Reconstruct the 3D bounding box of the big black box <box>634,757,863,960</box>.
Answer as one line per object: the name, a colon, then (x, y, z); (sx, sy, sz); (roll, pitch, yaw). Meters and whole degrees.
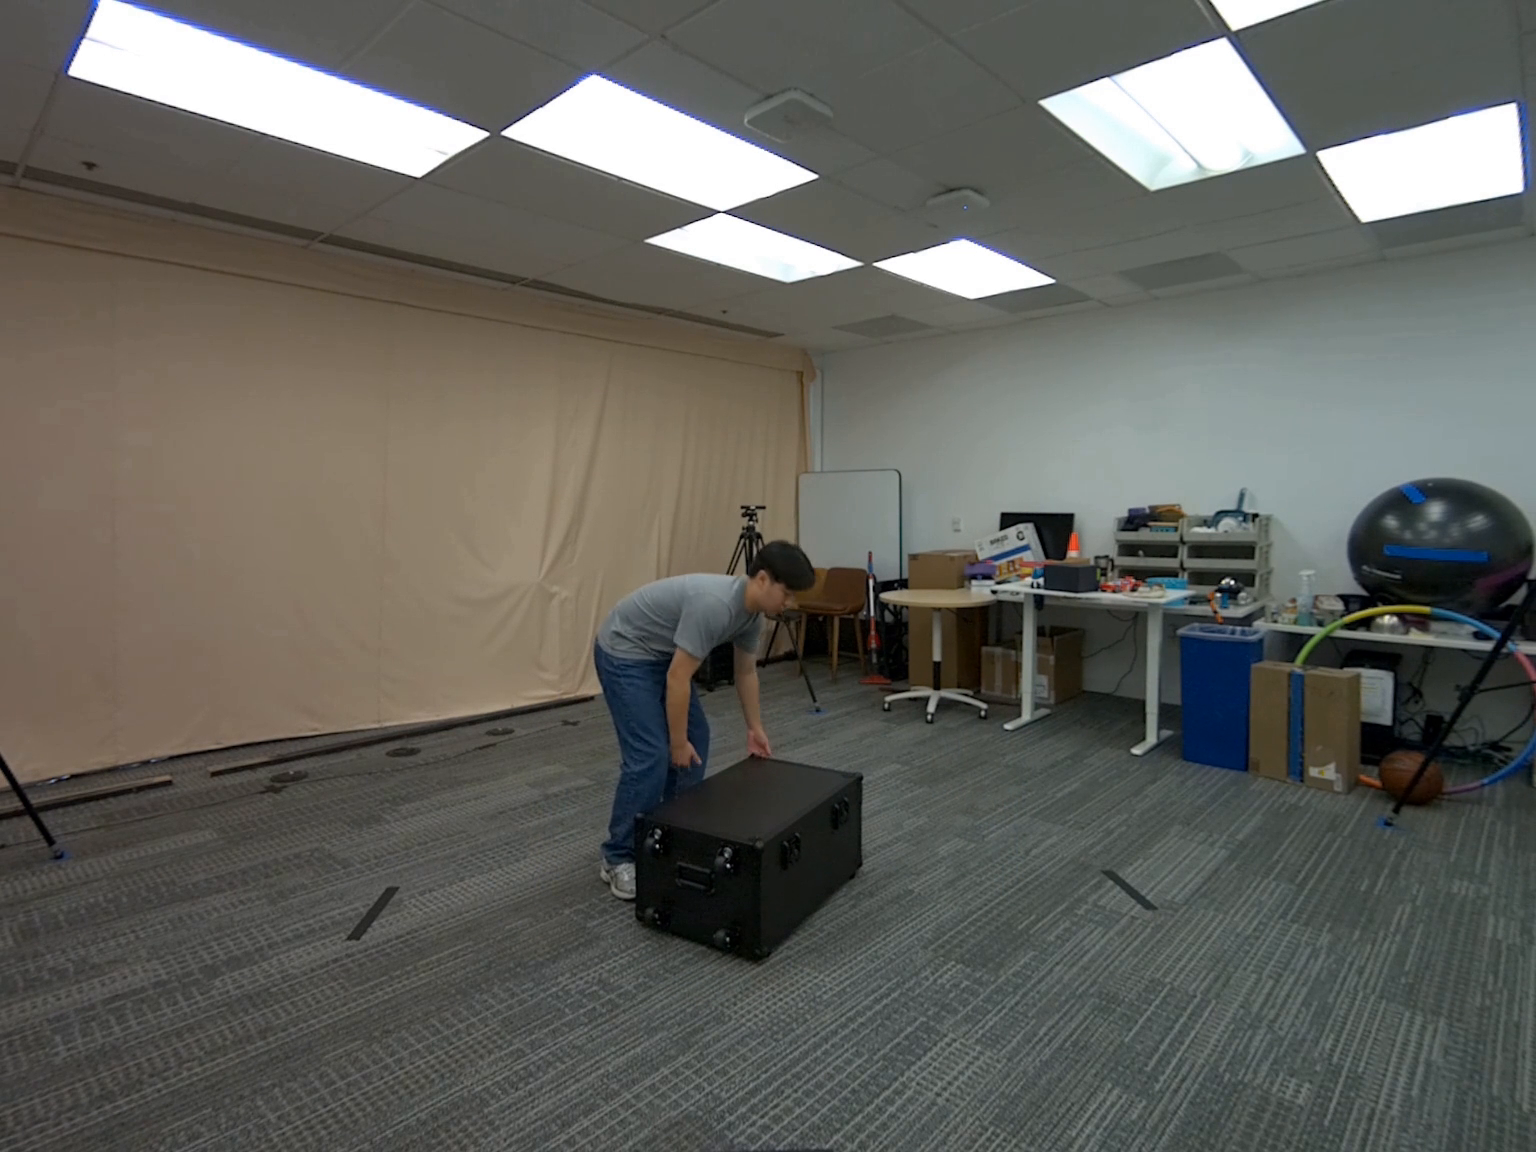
big black box: (-0.053, 0.955, 2.953); (0.536, 0.395, 0.838); (2, 4, 30)
